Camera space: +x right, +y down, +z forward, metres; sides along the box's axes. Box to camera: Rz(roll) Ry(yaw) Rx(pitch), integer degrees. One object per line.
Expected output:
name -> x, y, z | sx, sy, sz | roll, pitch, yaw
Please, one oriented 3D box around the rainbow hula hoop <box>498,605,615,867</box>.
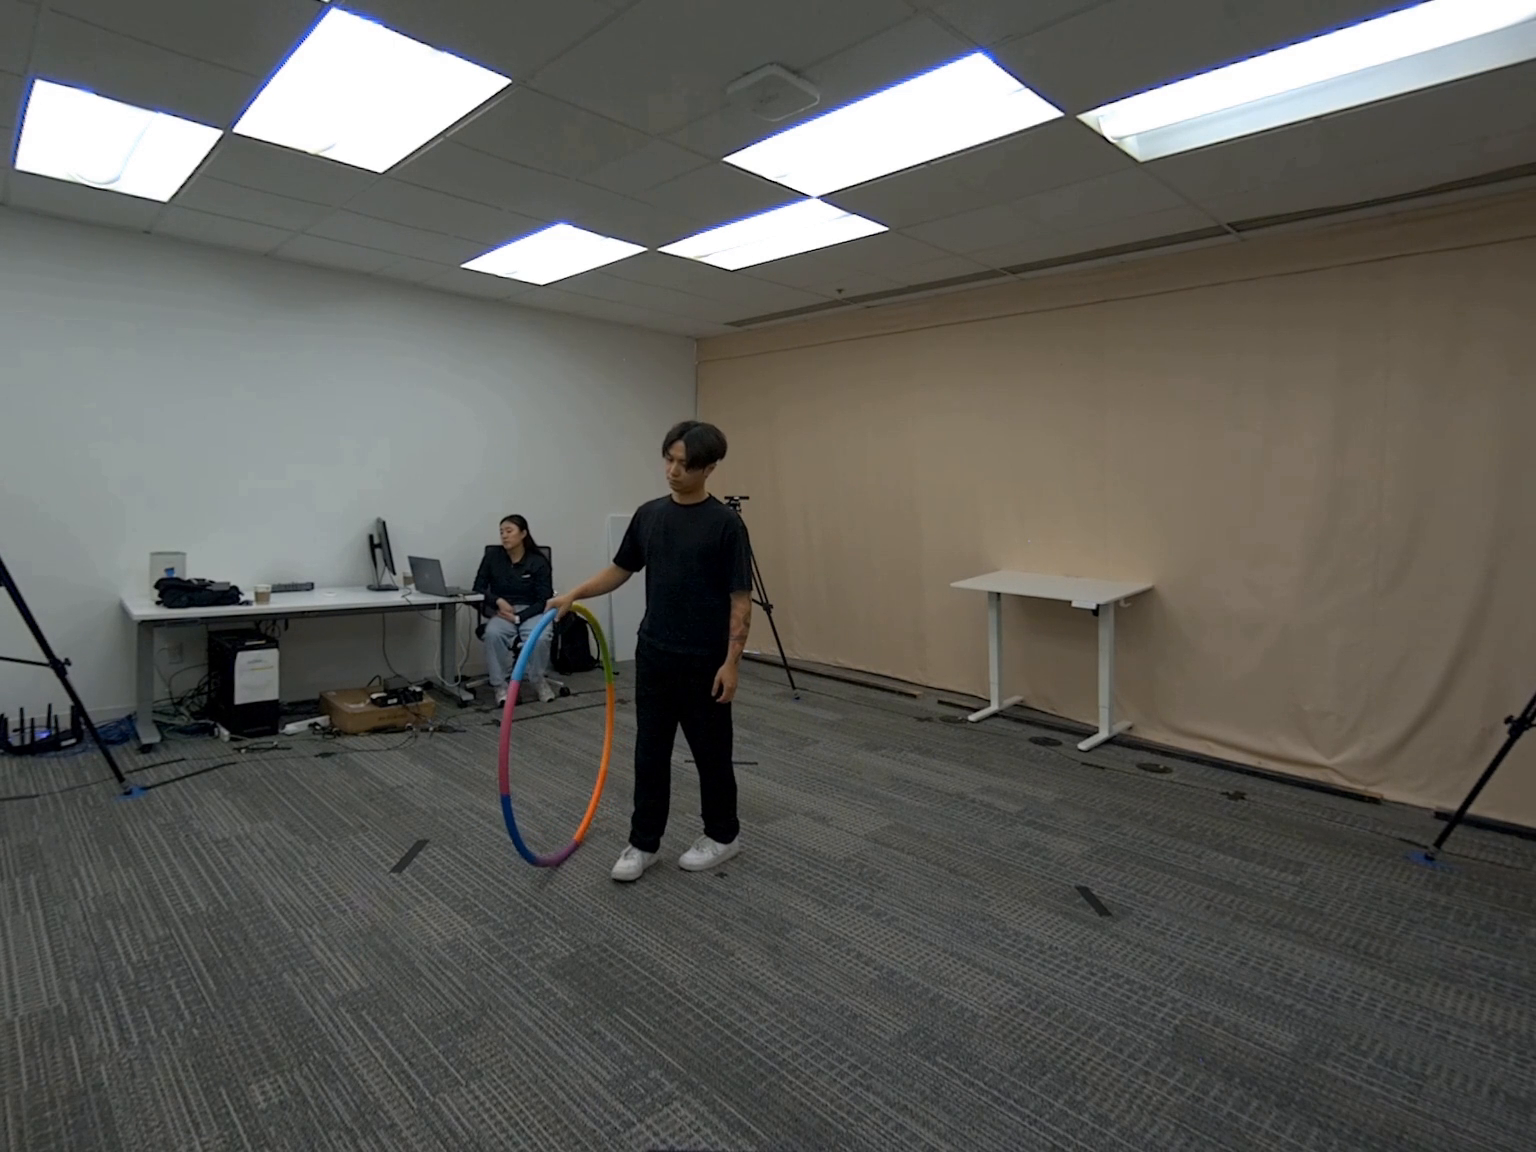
rainbow hula hoop -> -0.775, 0.595, 3.205 | 0.036, 0.976, 0.973 | 1, 4, 9
